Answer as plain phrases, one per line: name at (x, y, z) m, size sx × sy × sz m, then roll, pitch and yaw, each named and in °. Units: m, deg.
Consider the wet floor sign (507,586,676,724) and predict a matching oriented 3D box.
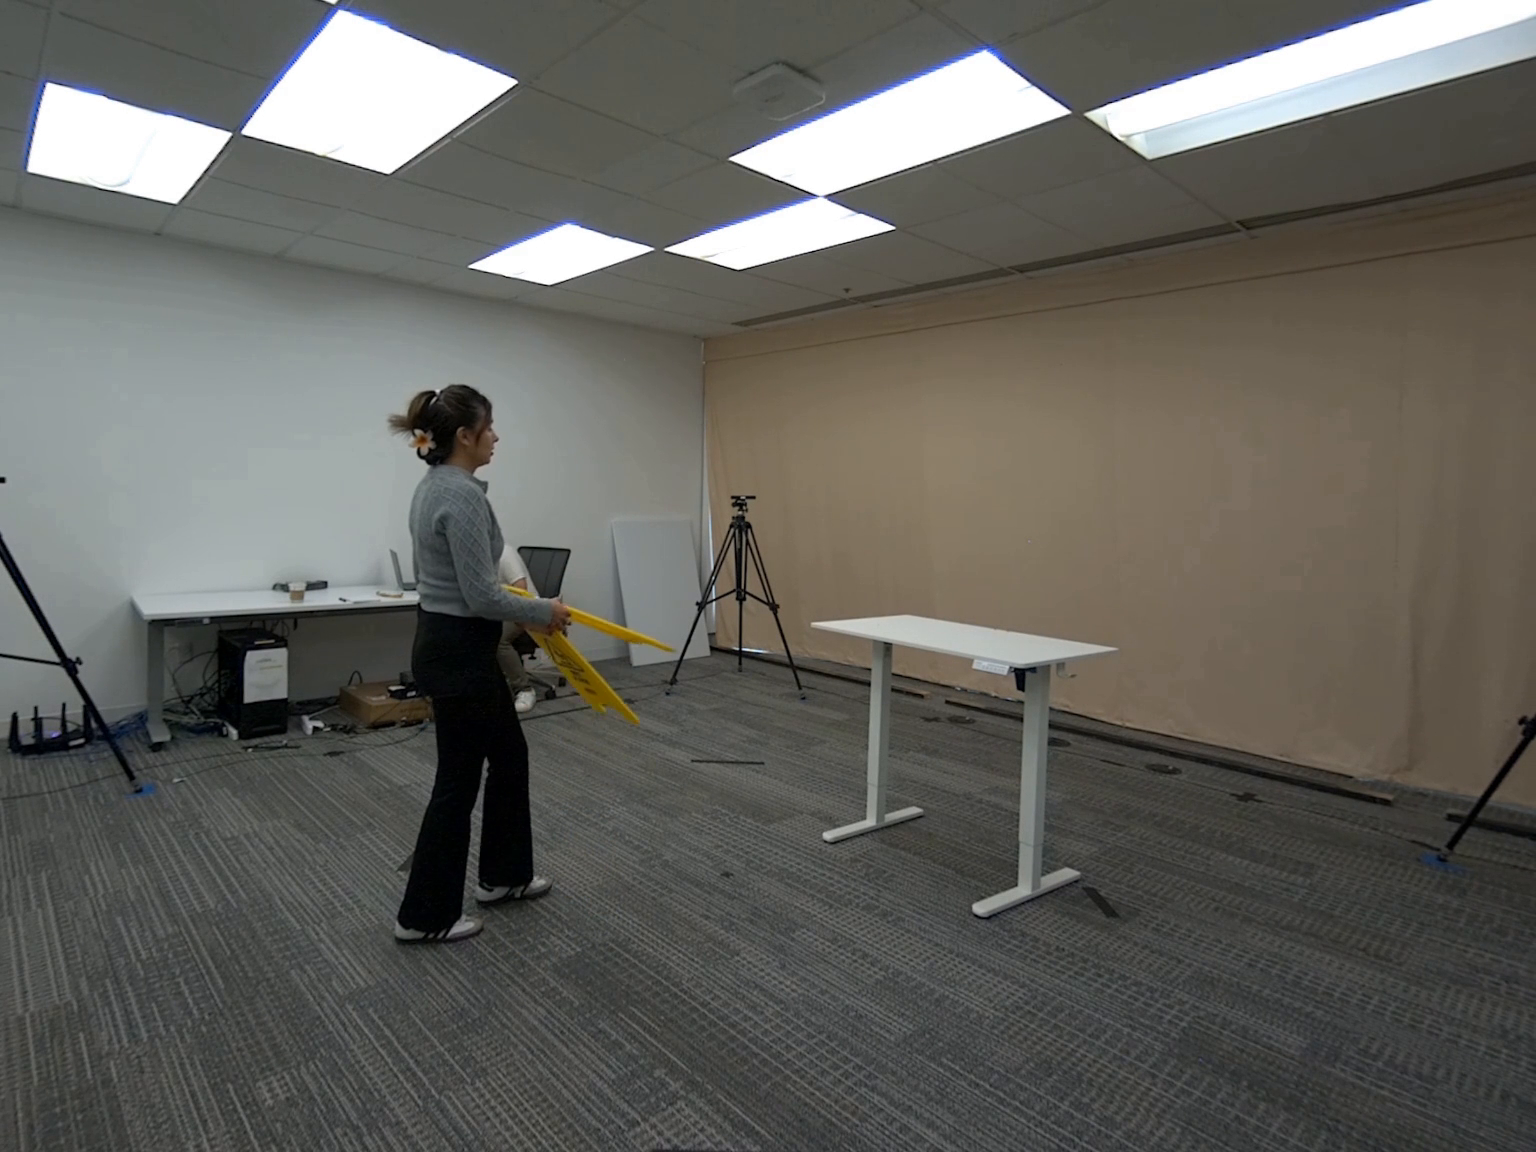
wet floor sign at (-0.669, 0.219, 2.917) m, size 0.289 × 0.291 × 0.626 m, roll 5°, pitch -29°, yaw 45°
